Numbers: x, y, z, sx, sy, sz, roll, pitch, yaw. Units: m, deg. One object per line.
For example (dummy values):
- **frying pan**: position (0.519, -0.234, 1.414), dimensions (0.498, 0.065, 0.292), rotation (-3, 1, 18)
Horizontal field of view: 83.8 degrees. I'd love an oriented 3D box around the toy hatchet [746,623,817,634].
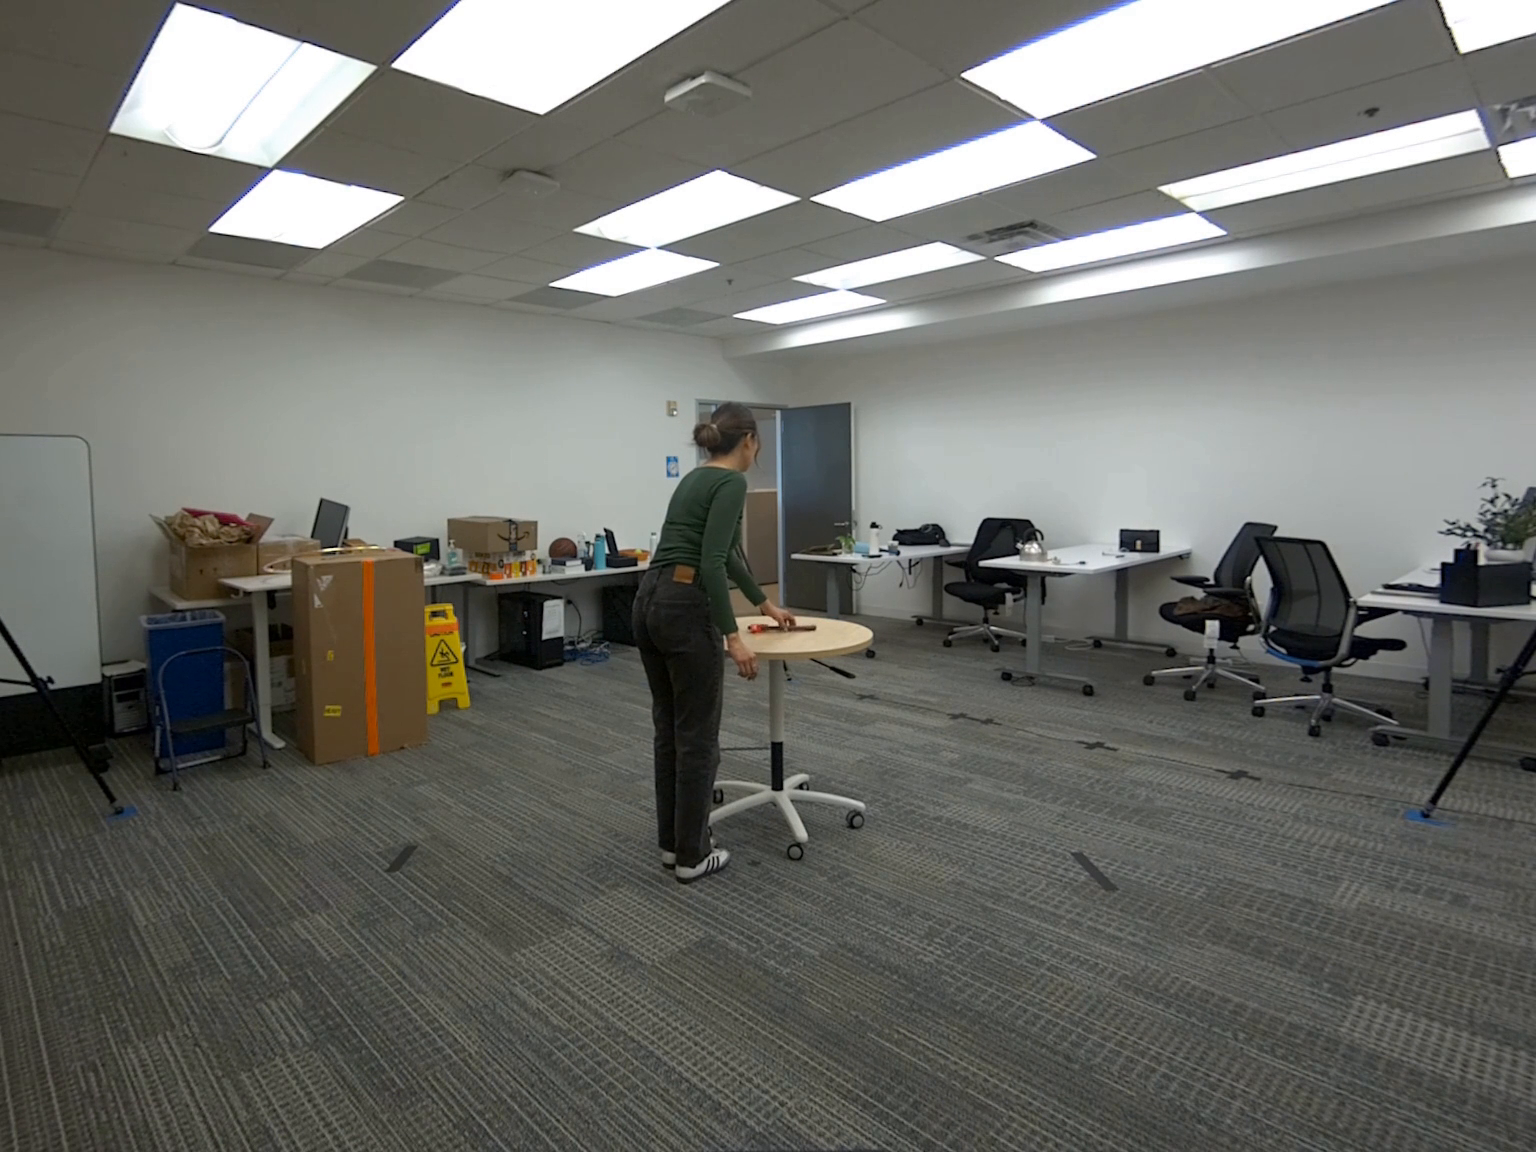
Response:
- **toy hatchet**: position (0.065, 0.208, 3.472), dimensions (0.266, 0.029, 0.133), rotation (-2, 2, -15)
